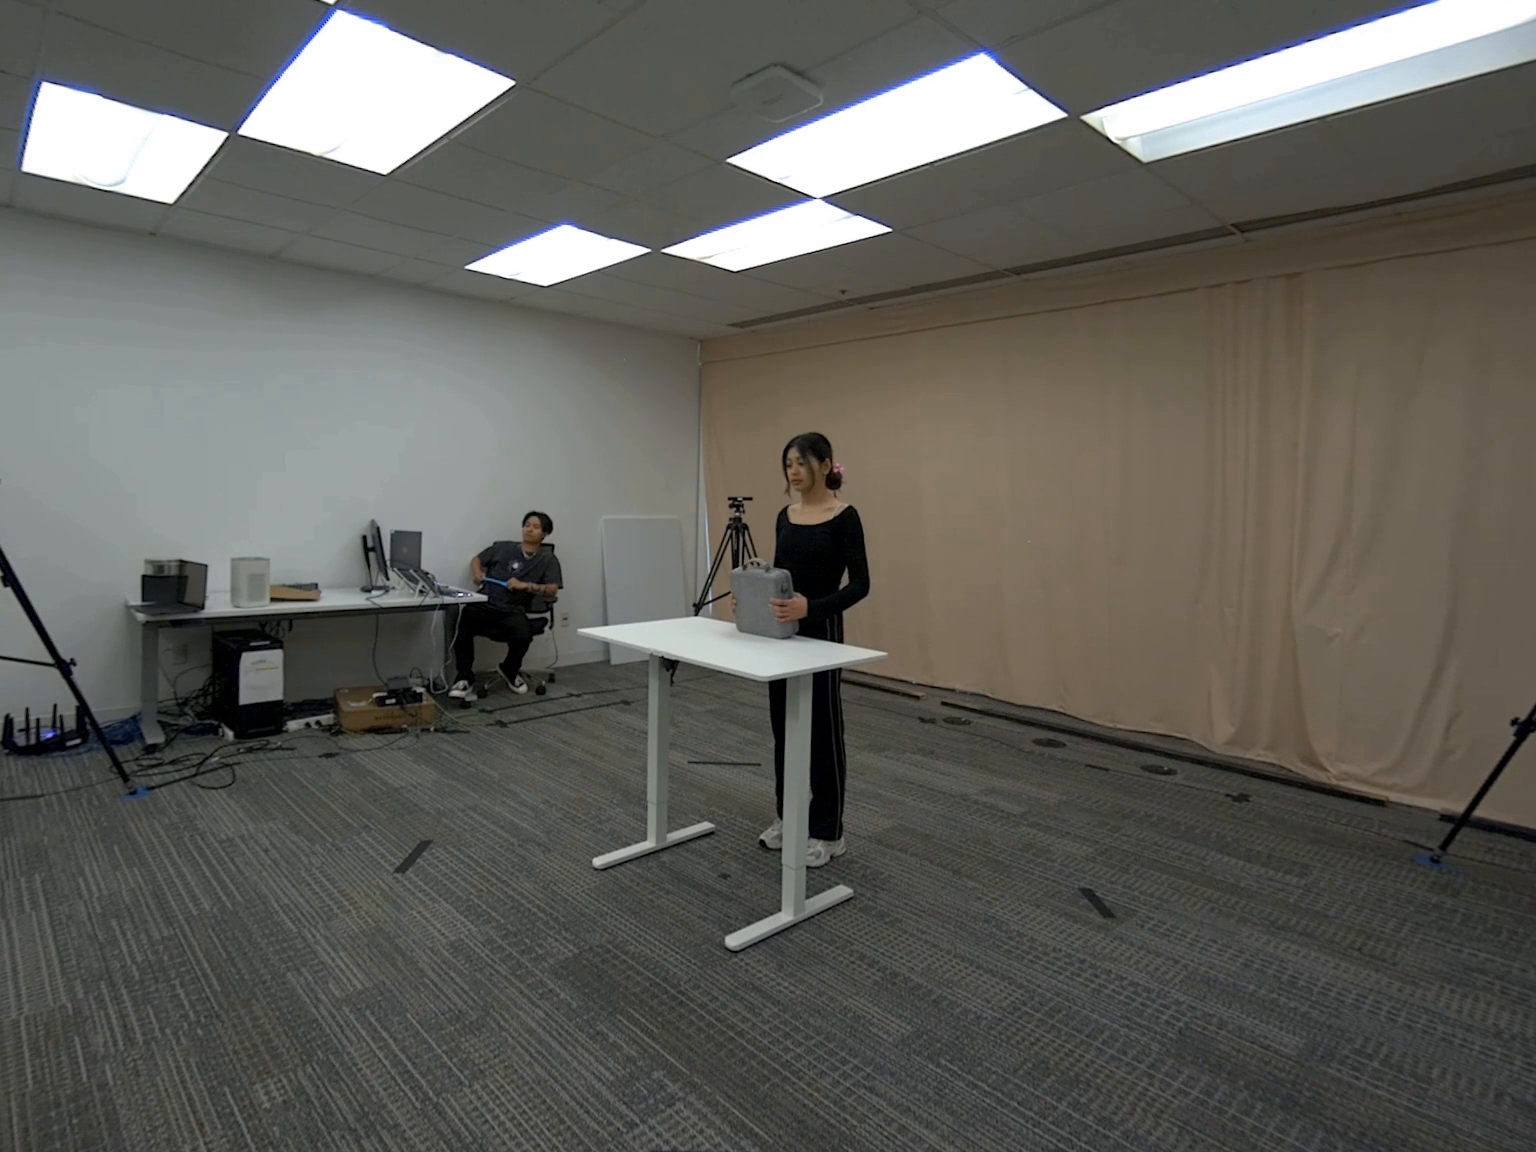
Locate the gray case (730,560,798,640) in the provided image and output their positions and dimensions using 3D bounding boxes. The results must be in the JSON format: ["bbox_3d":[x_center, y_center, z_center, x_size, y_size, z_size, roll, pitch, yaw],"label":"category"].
[{"bbox_3d":[-0.016,0.091,3.144,0.102,0.258,0.263,-17,15,-41],"label":"gray case"}]
